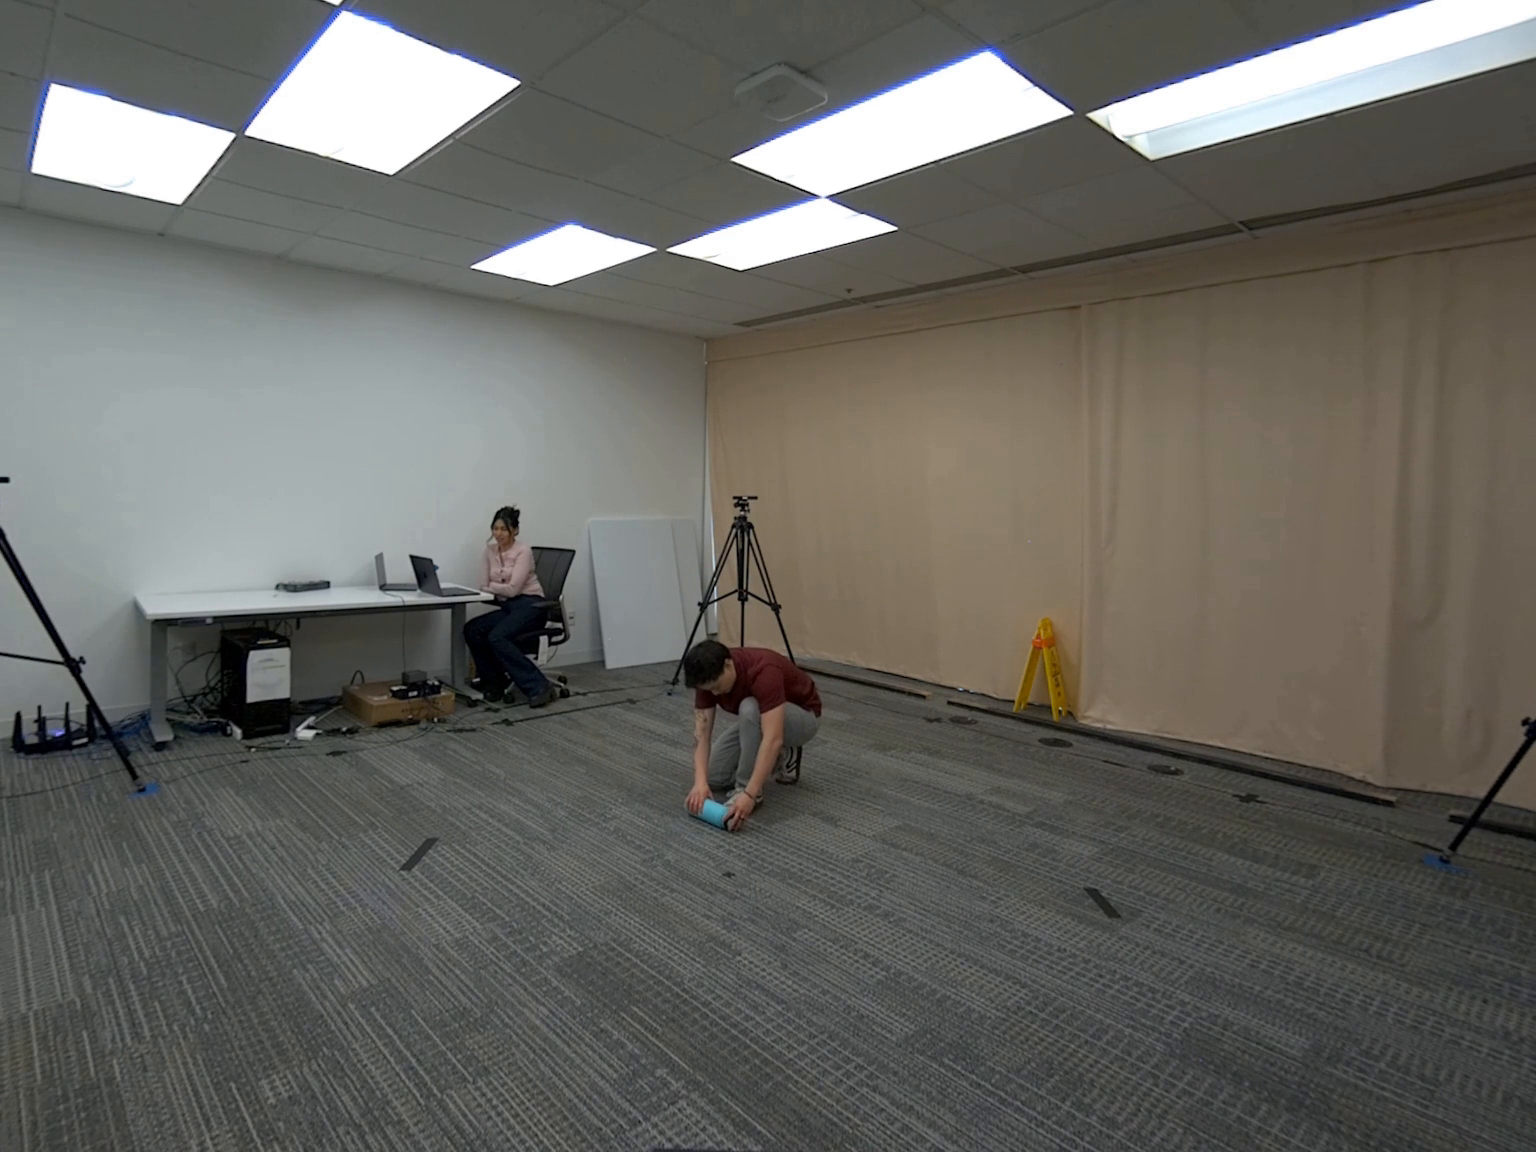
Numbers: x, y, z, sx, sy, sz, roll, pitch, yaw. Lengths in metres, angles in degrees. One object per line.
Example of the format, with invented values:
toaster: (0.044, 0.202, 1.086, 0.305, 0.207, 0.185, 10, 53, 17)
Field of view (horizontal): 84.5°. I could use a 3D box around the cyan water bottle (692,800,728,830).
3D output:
cyan water bottle: (-0.239, 1.012, 3.603, 0.090, 0.092, 0.291, -3, 7, -44)
